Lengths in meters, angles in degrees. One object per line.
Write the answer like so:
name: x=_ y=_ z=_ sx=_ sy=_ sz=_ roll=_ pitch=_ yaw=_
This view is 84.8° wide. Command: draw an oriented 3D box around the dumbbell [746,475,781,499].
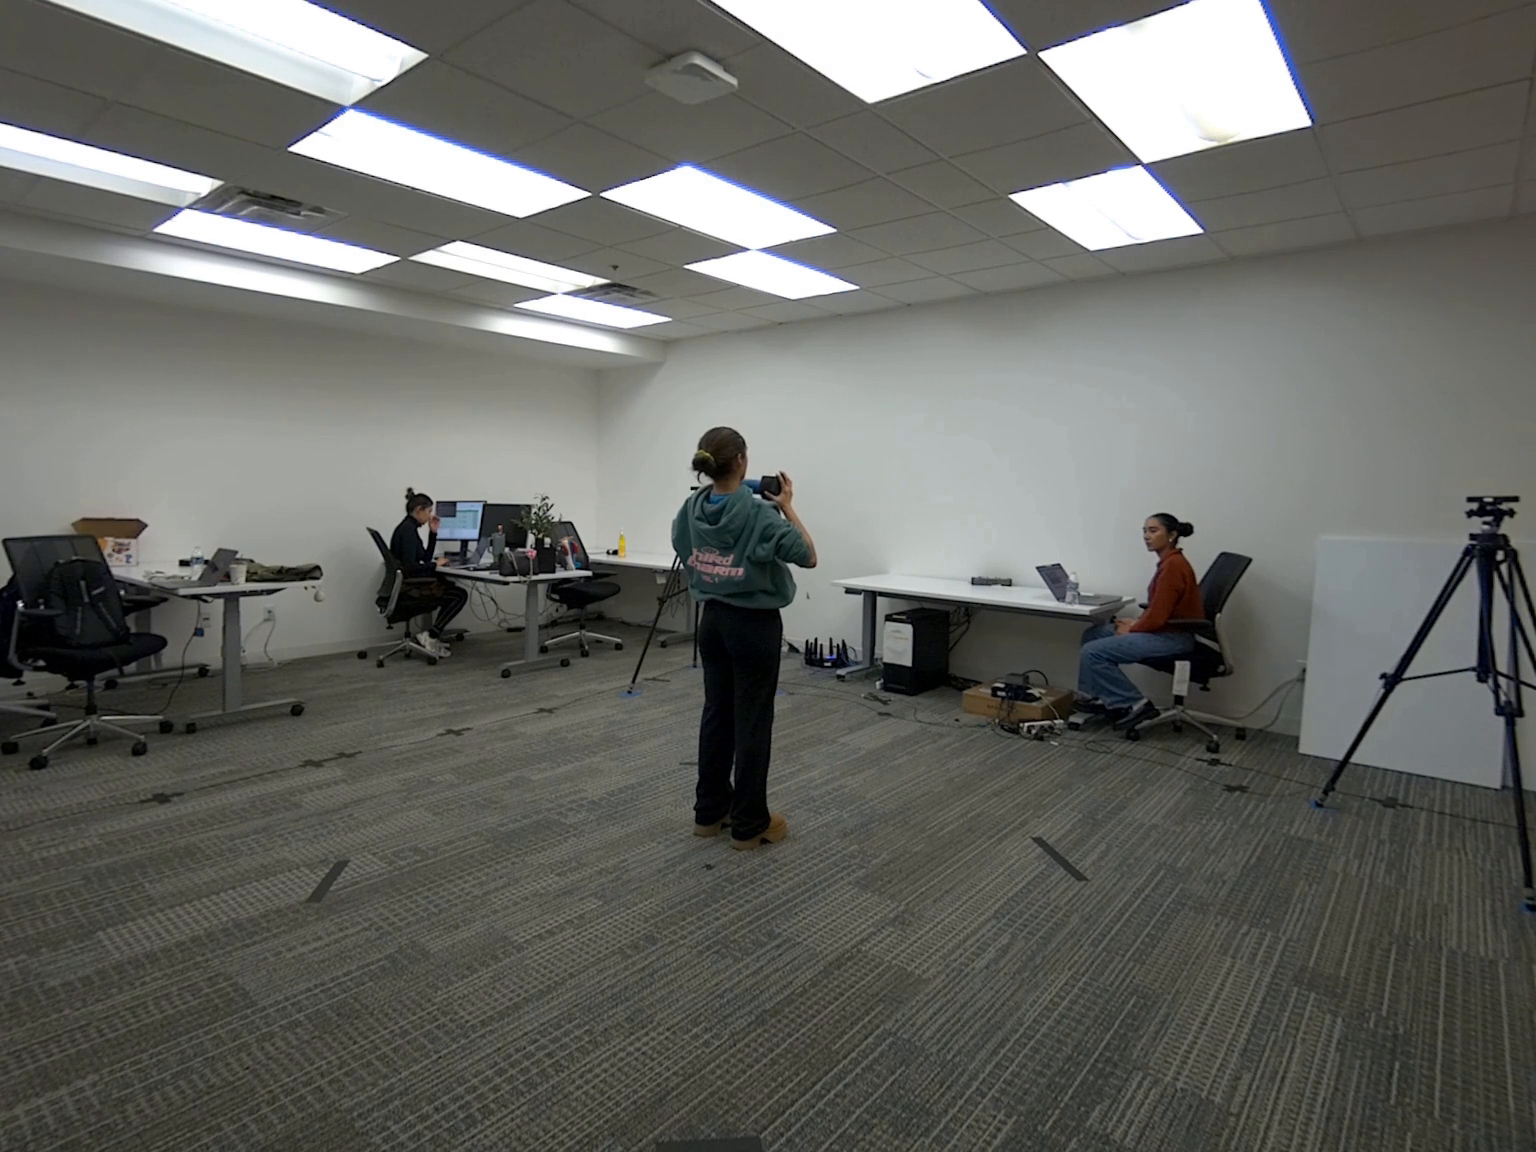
dumbbell: x=-0.082 y=-0.362 z=3.392 sx=0.304 sy=0.124 sz=0.104 roll=9 pitch=-15 yaw=36
